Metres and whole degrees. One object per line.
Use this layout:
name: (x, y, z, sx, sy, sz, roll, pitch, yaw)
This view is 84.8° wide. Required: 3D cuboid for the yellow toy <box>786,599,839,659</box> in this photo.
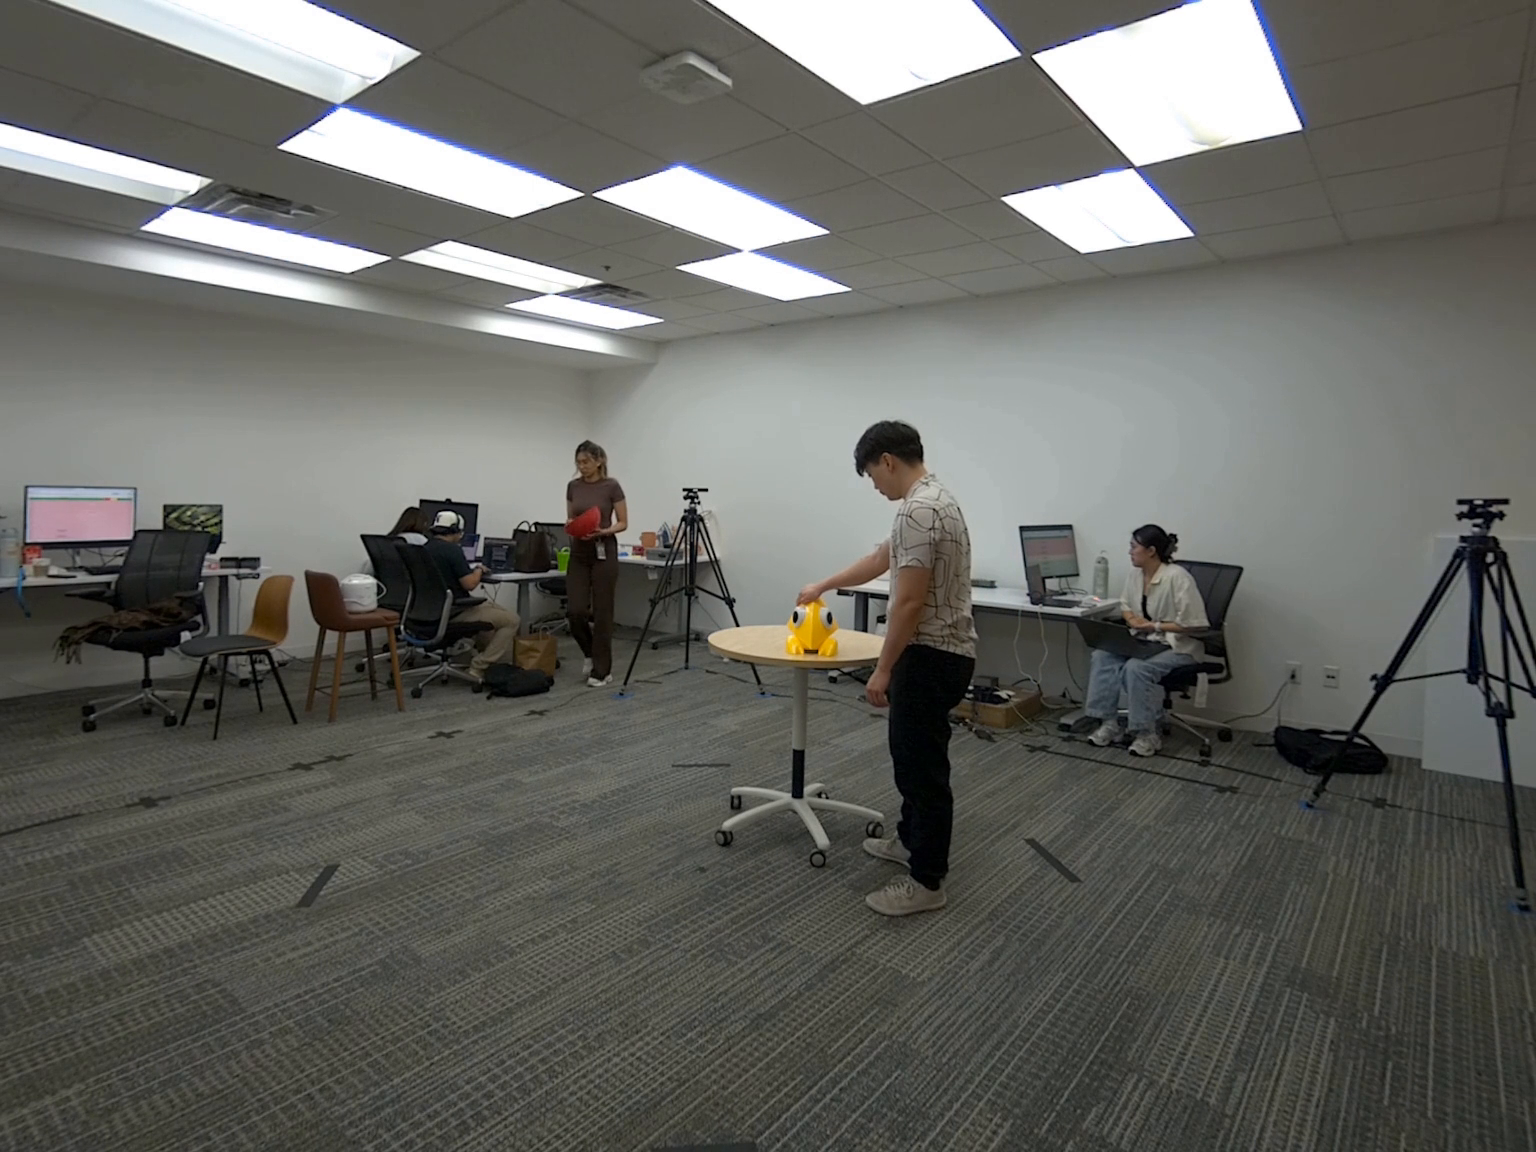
yellow toy: (0.162, 0.170, 3.242, 0.206, 0.229, 0.193, 2, 6, 5)
